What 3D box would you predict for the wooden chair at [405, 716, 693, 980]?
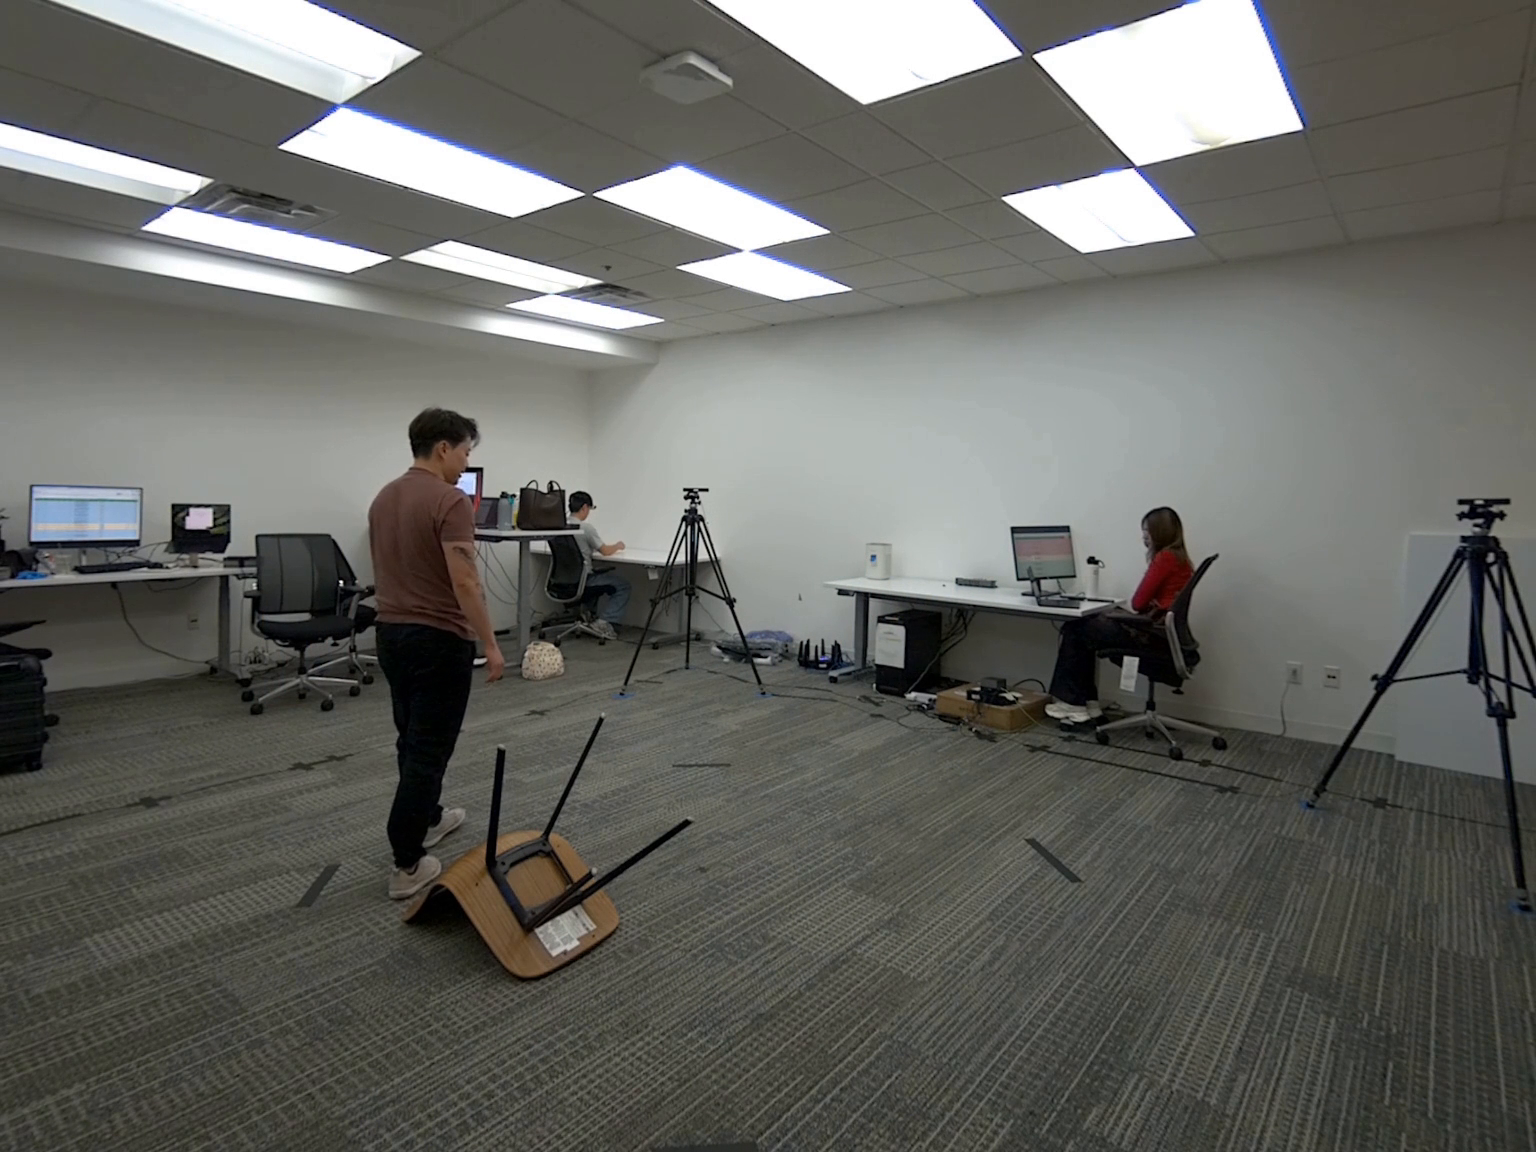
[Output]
[{"bbox_3d":[-0.721,0.938,2.619,0.538,0.875,0.466,47,24,20],"label":"wooden chair"}]
